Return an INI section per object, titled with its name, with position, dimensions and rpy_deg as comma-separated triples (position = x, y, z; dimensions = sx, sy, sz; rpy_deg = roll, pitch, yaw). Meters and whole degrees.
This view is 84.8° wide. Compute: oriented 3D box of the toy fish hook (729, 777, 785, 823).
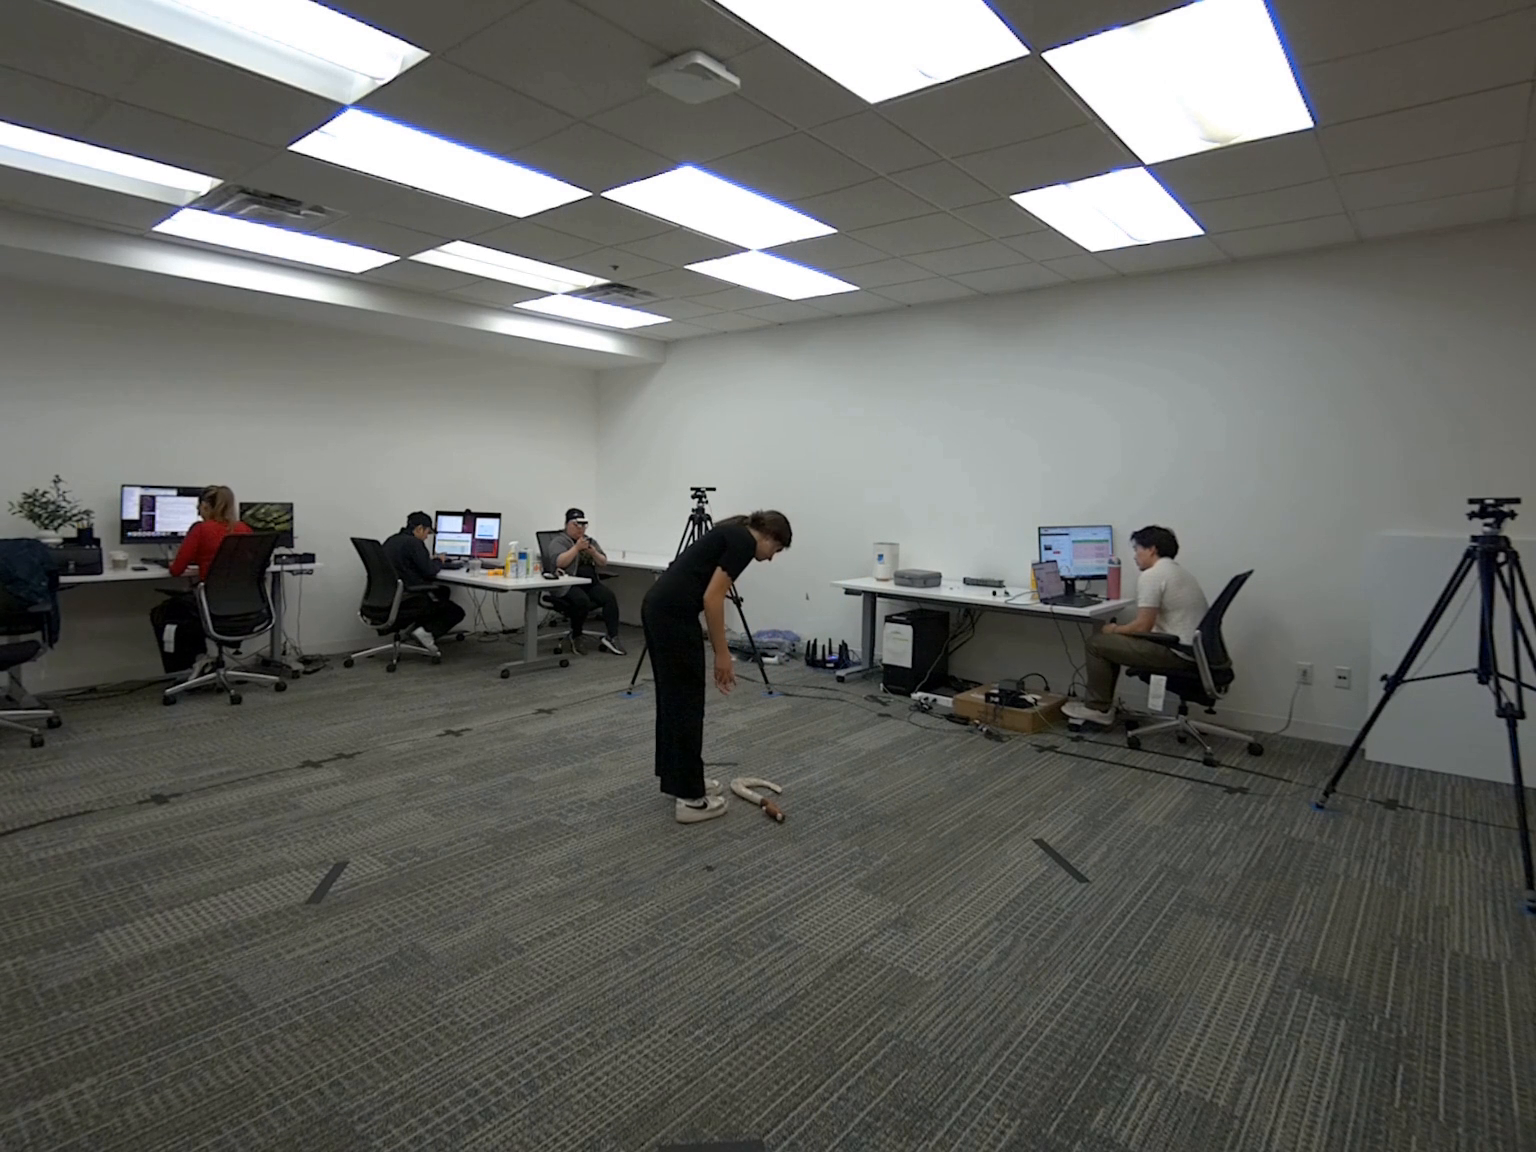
[toy fish hook]
position = -0.012, 0.985, 3.787
dimensions = 0.220, 0.048, 0.520
rpy_deg = -3, 7, -24
